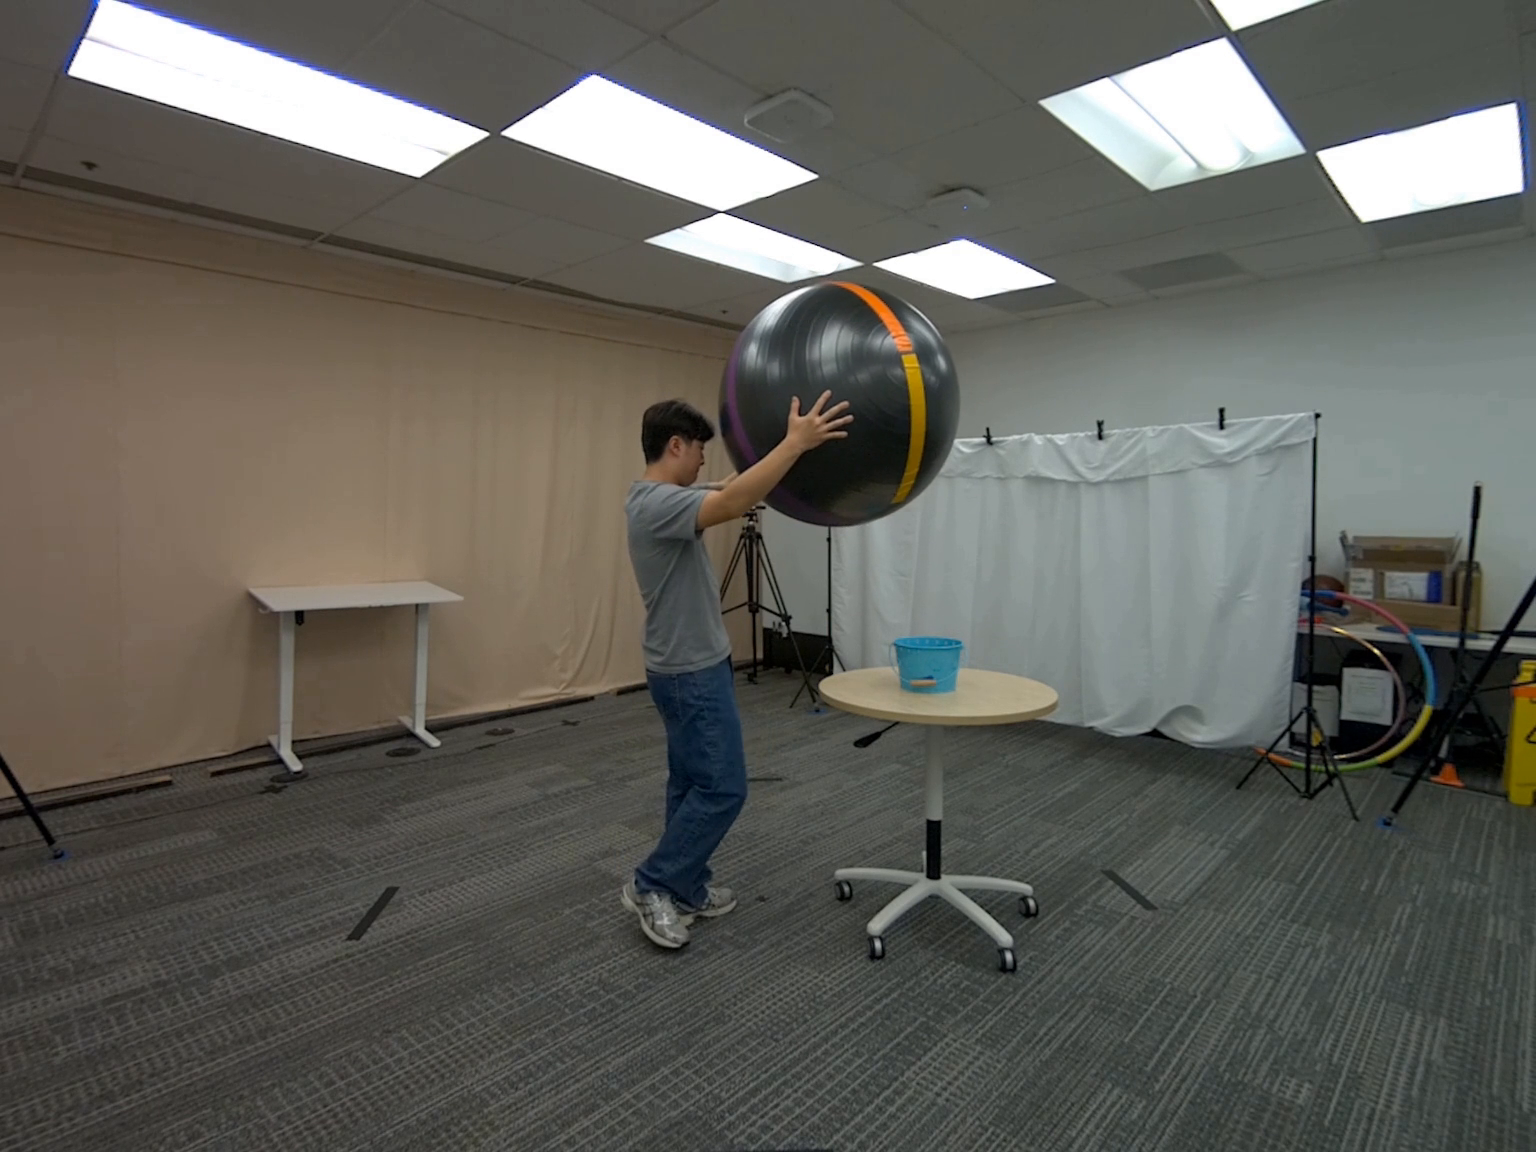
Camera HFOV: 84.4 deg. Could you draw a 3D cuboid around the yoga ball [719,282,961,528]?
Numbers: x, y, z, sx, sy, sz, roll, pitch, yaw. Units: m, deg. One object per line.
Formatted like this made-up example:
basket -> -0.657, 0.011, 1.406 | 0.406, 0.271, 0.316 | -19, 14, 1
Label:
yoga ball -> 0.220, -0.530, 2.674 | 0.757, 0.756, 0.760 | 0, 4, -2
